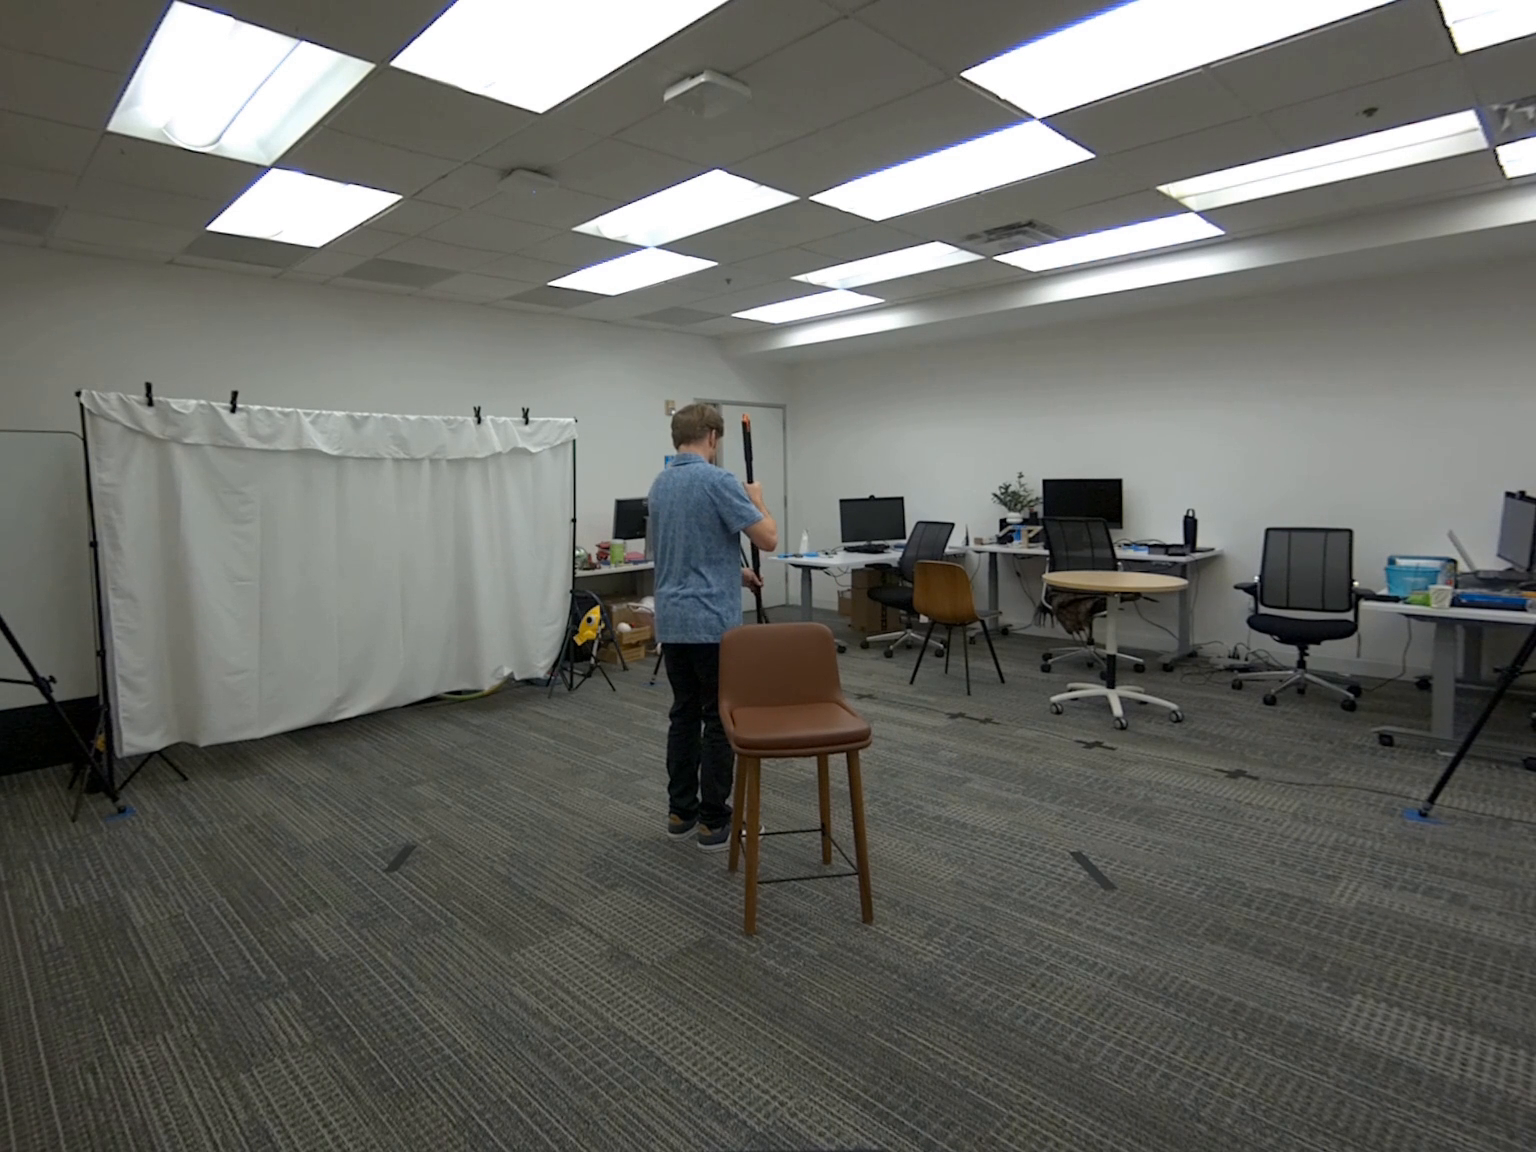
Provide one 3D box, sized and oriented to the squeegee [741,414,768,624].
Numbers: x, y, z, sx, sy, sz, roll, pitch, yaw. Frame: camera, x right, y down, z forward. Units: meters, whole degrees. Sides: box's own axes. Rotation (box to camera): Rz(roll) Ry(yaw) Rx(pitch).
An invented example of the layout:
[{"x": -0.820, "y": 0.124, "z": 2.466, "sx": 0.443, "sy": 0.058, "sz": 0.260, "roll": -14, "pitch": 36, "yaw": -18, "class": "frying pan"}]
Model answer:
[{"x": -0.038, "y": 0.098, "z": 3.642, "sx": 0.446, "sy": 1.509, "sz": 0.053, "roll": 4, "pitch": 21, "yaw": 20, "class": "squeegee"}]
